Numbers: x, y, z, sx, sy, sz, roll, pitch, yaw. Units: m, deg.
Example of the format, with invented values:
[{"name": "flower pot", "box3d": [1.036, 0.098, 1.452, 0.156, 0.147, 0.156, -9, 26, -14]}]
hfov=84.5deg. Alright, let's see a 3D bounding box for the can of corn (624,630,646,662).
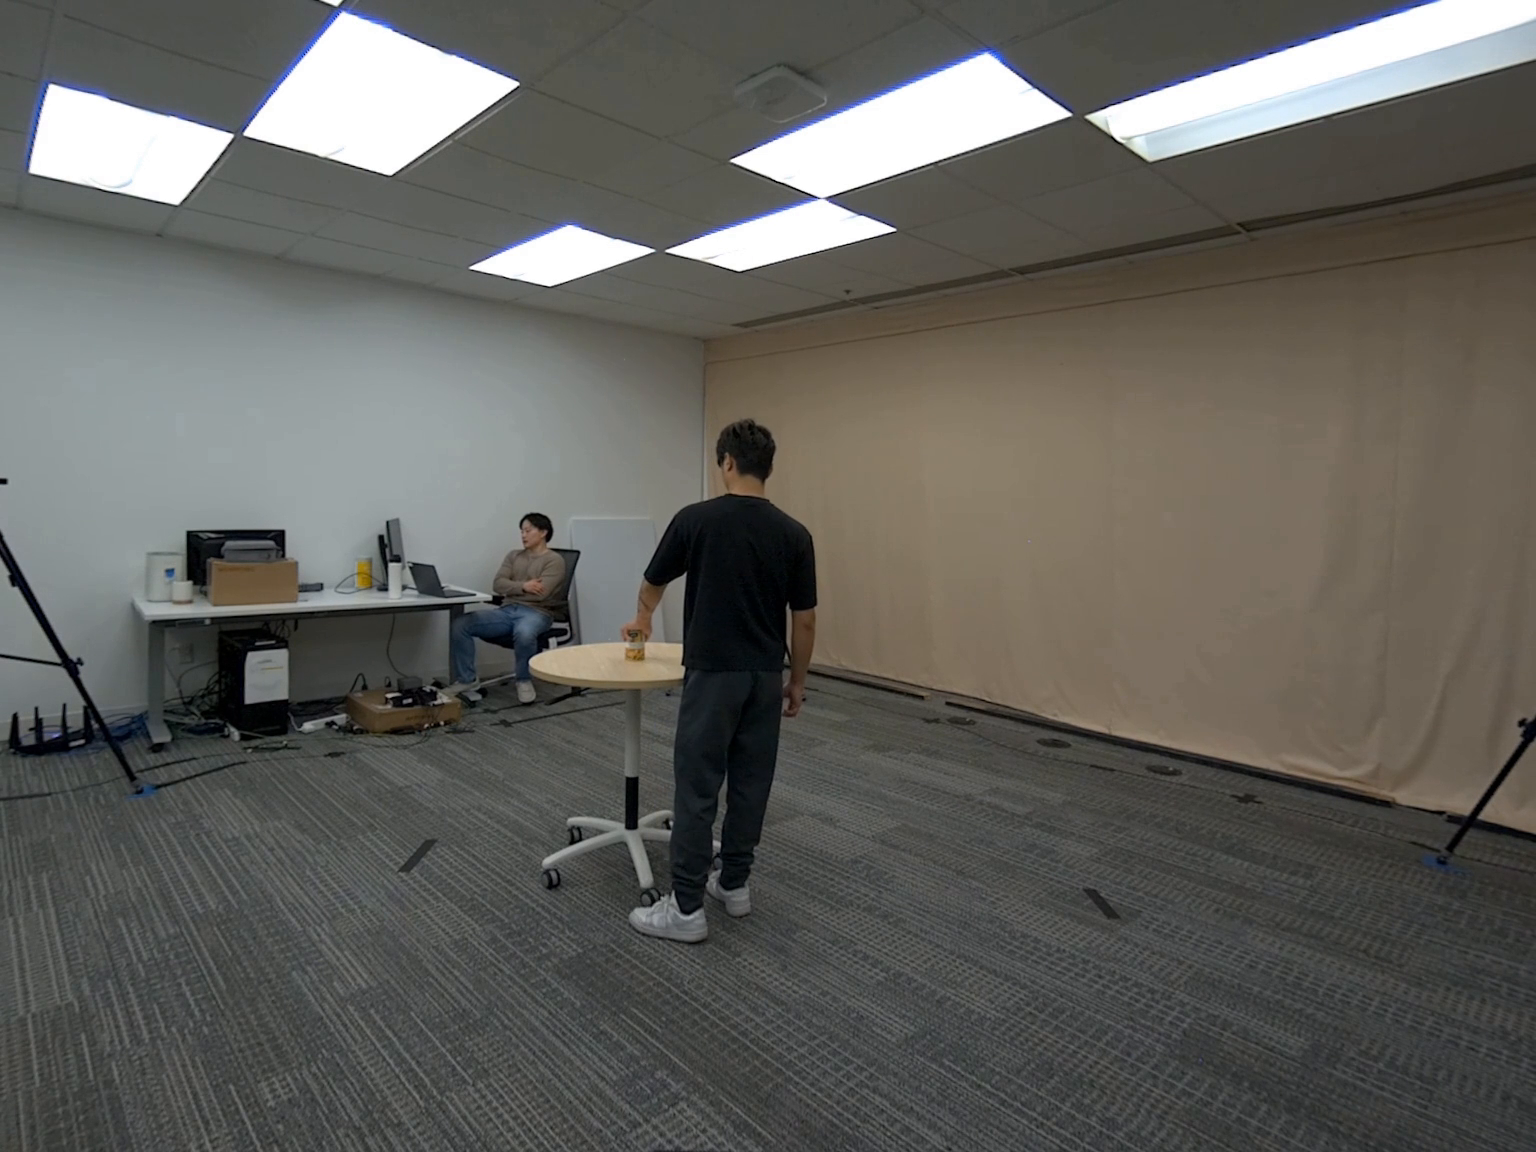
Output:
[{"name": "can of corn", "box3d": [-0.505, 0.257, 3.143, 0.074, 0.110, 0.074, 3, 6, -2]}]
